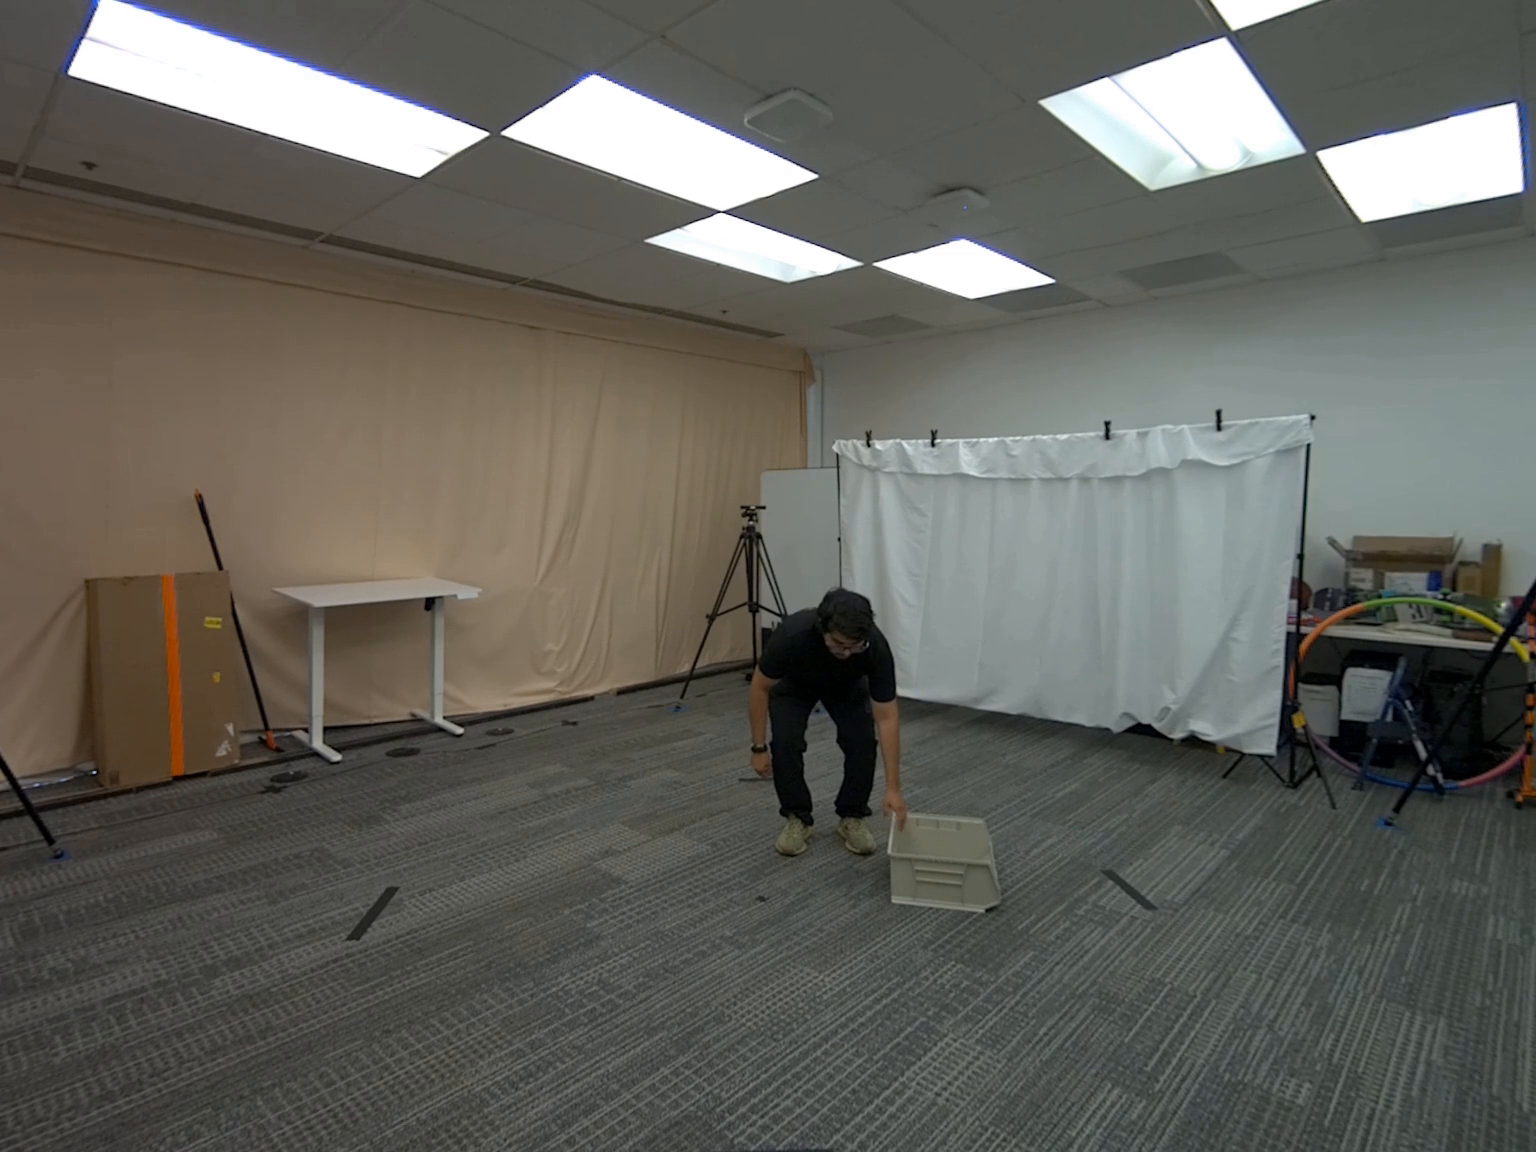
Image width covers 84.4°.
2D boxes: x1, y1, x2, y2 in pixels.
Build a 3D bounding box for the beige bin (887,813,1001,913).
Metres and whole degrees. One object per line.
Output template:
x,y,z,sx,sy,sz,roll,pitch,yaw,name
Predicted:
0.651,1.044,3.098,0.383,0.188,0.417,0,5,12,beige bin
